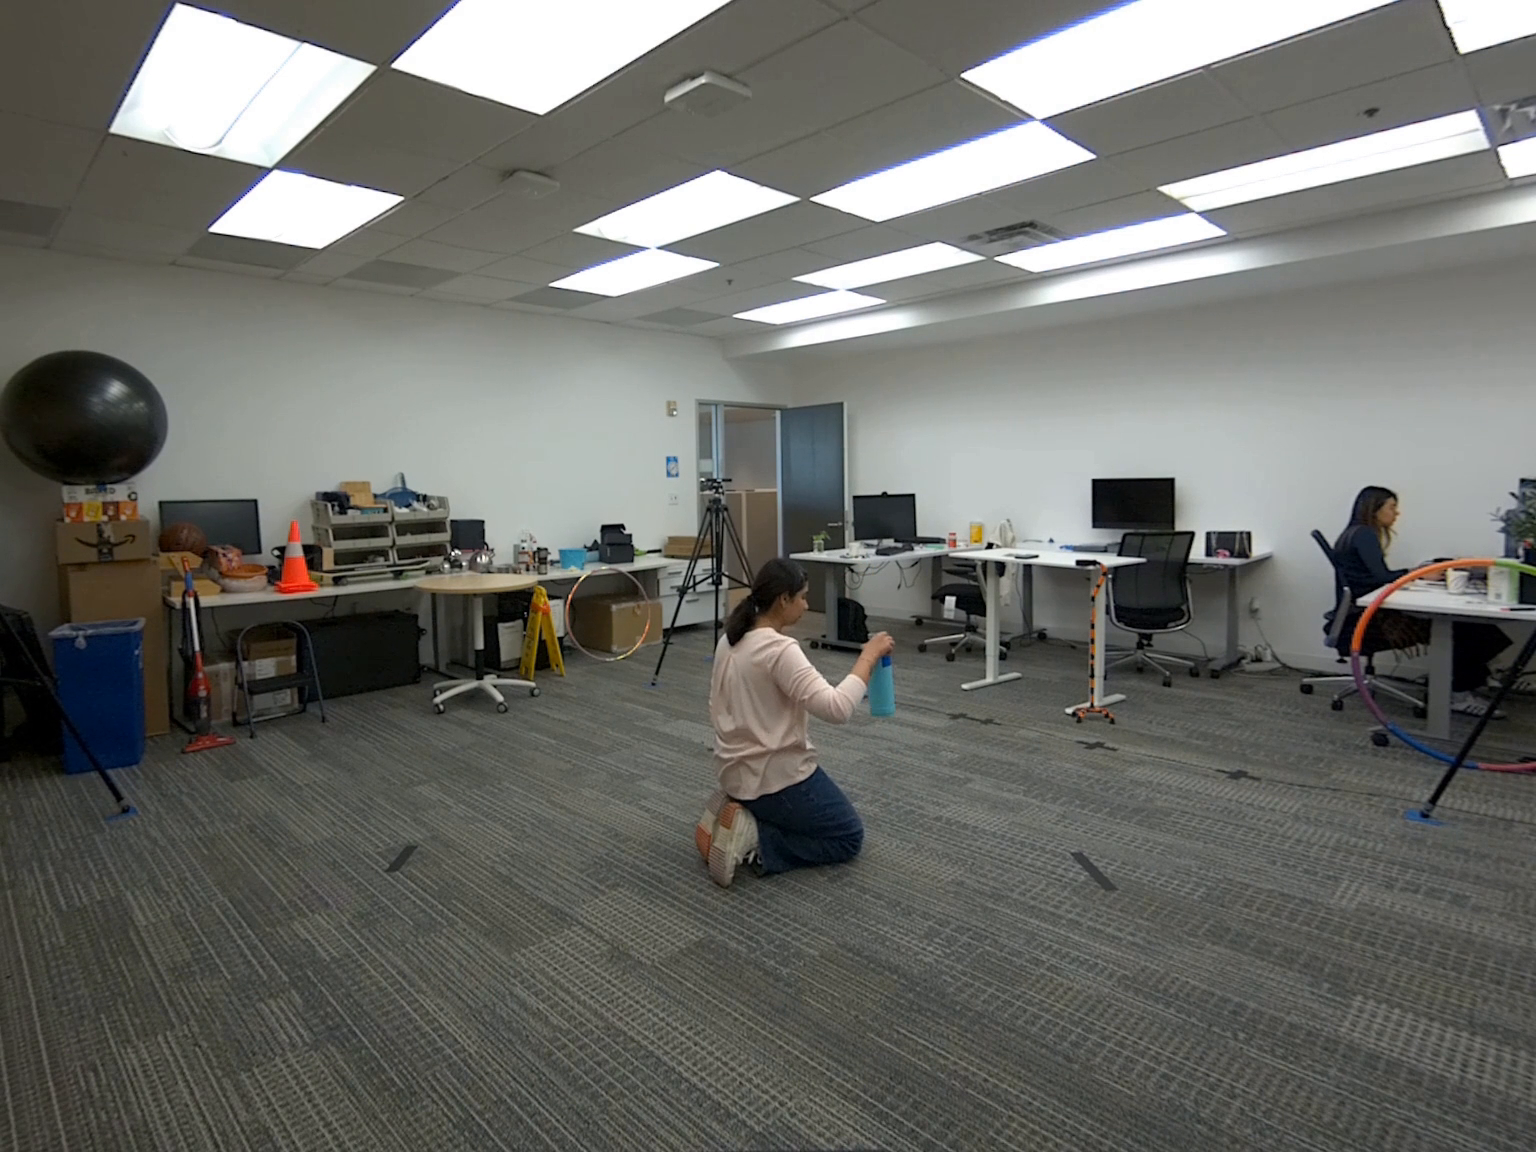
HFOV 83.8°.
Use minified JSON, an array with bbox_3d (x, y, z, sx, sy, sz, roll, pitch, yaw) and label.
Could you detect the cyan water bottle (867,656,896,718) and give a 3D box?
[{"bbox_3d":[0.396,0.346,3.014,0.092,0.282,0.093,-3,5,-1],"label":"cyan water bottle"}]
